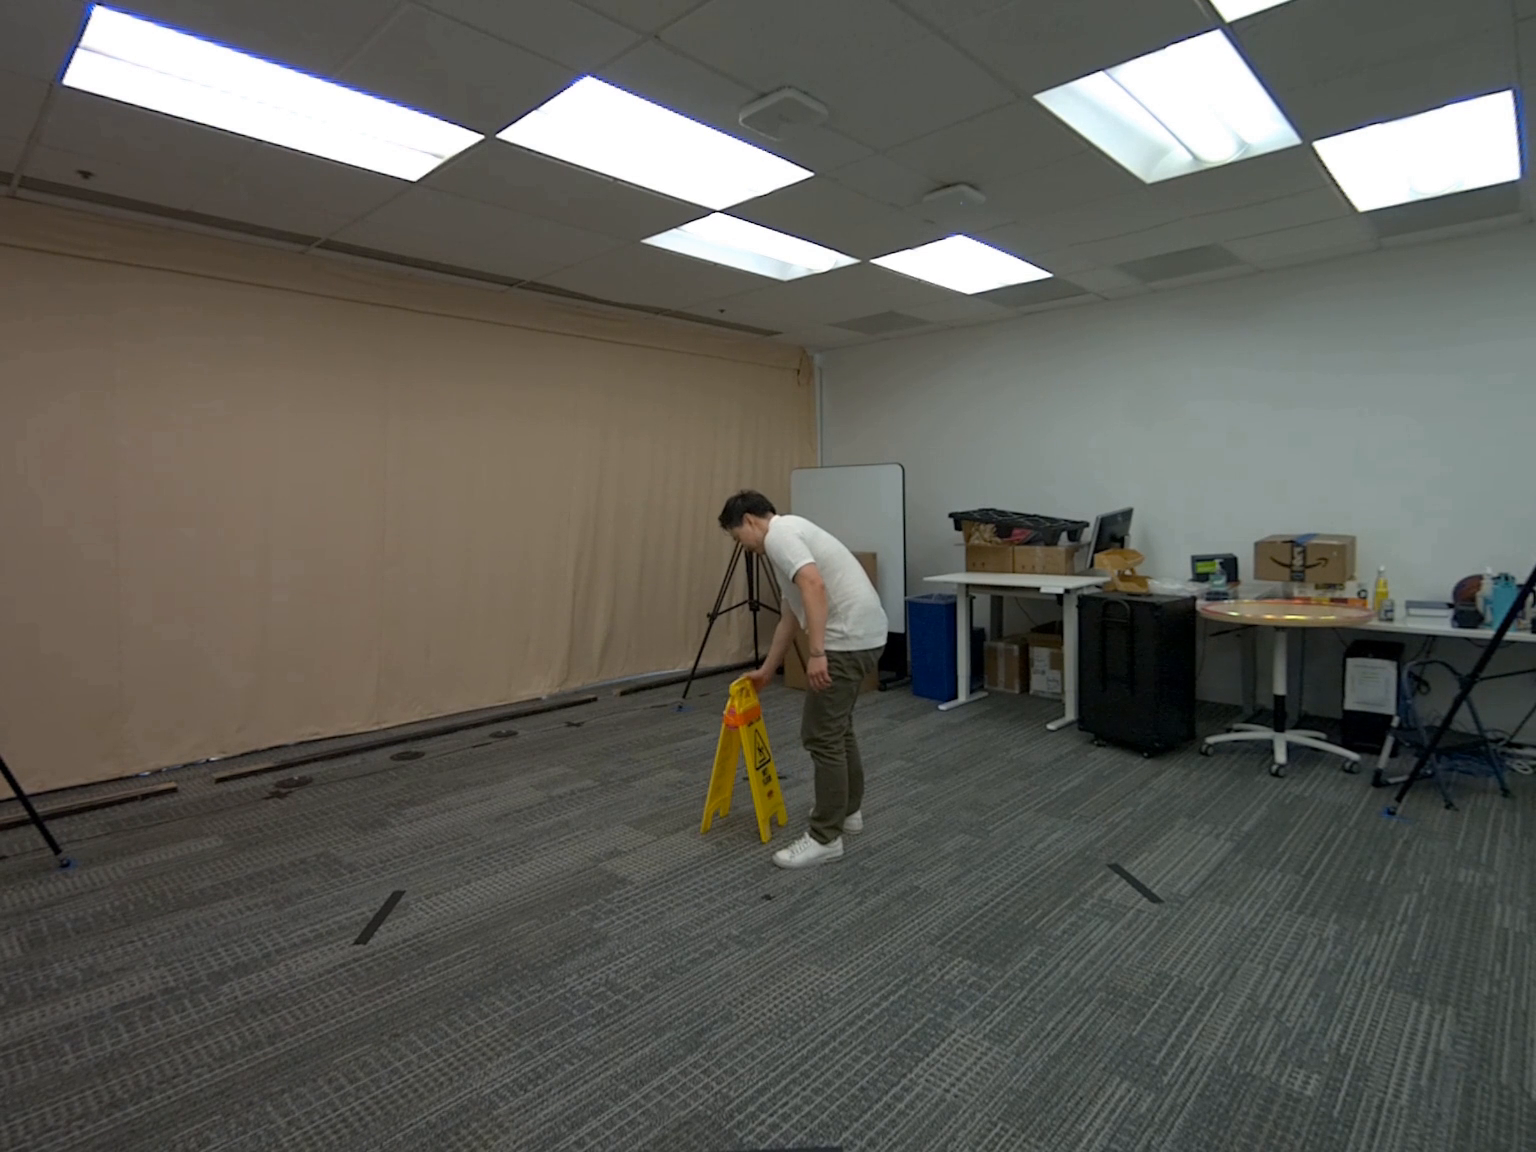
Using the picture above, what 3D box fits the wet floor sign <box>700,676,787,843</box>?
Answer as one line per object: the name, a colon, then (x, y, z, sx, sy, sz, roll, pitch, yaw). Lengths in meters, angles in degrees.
wet floor sign: (-0.107, 0.765, 3.625, 0.296, 0.645, 0.276, -1, 3, 23)
